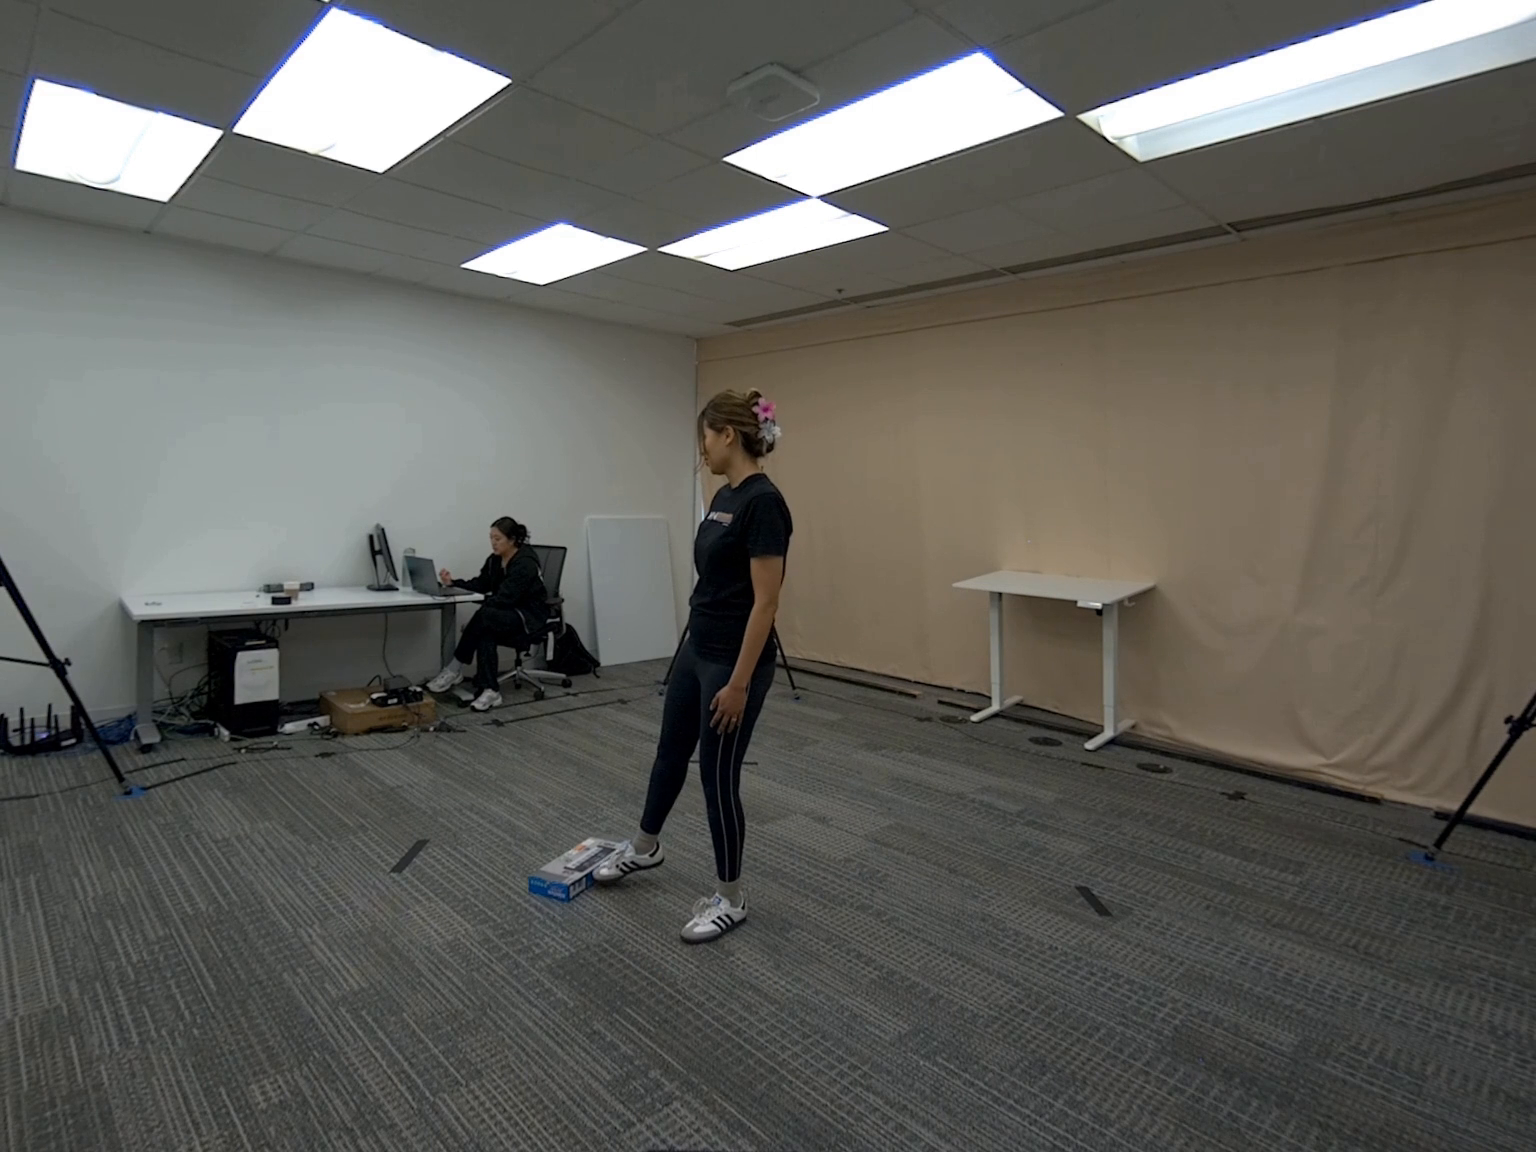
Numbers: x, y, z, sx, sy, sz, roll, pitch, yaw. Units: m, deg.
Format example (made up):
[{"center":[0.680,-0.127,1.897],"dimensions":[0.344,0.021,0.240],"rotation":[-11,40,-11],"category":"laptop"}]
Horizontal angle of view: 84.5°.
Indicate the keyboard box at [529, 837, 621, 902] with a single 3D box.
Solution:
[{"center":[-0.678,1.063,3.091],"dimensions":[0.179,0.059,0.430],"rotation":[3,6,23],"category":"keyboard box"}]
